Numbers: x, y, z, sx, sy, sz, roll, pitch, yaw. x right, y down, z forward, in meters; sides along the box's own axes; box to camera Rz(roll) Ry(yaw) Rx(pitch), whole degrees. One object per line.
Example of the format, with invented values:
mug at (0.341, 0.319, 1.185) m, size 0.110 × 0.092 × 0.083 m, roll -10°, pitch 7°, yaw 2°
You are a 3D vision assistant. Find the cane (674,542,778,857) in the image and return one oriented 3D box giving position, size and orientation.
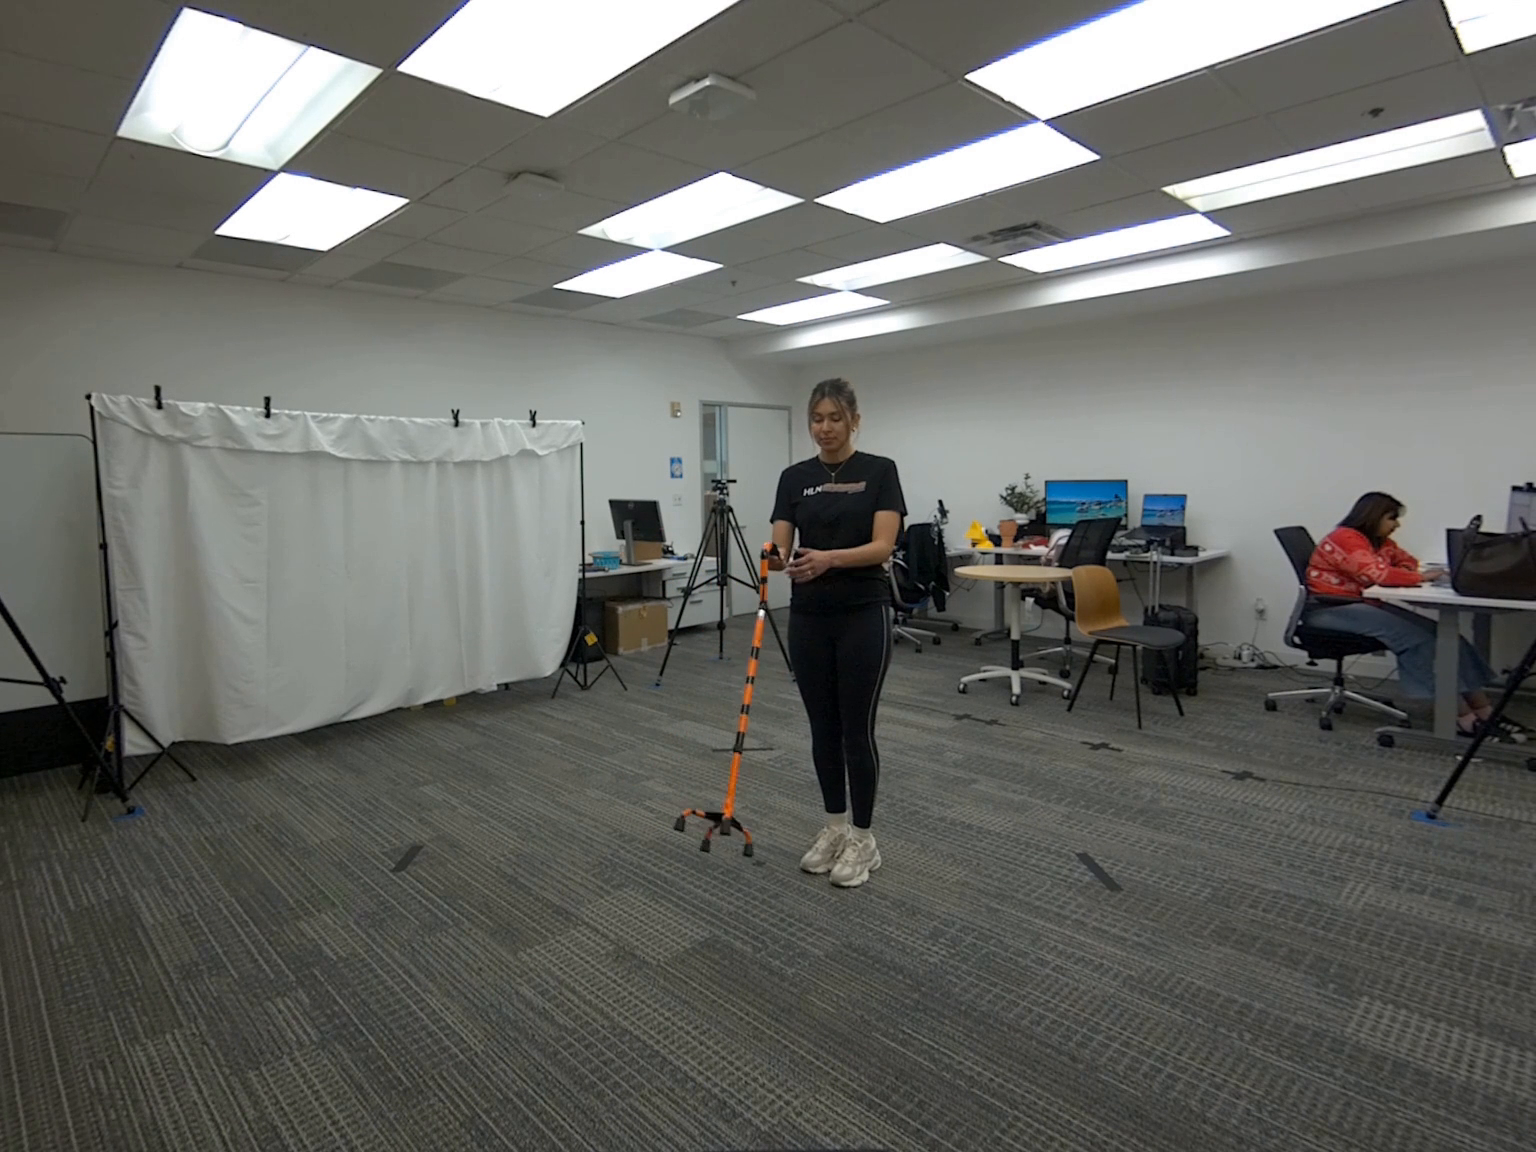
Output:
cane at (-0.068, 0.300, 2.405) m, size 0.154 × 0.926 × 0.199 m, roll -5°, pitch -35°, yaw 20°
